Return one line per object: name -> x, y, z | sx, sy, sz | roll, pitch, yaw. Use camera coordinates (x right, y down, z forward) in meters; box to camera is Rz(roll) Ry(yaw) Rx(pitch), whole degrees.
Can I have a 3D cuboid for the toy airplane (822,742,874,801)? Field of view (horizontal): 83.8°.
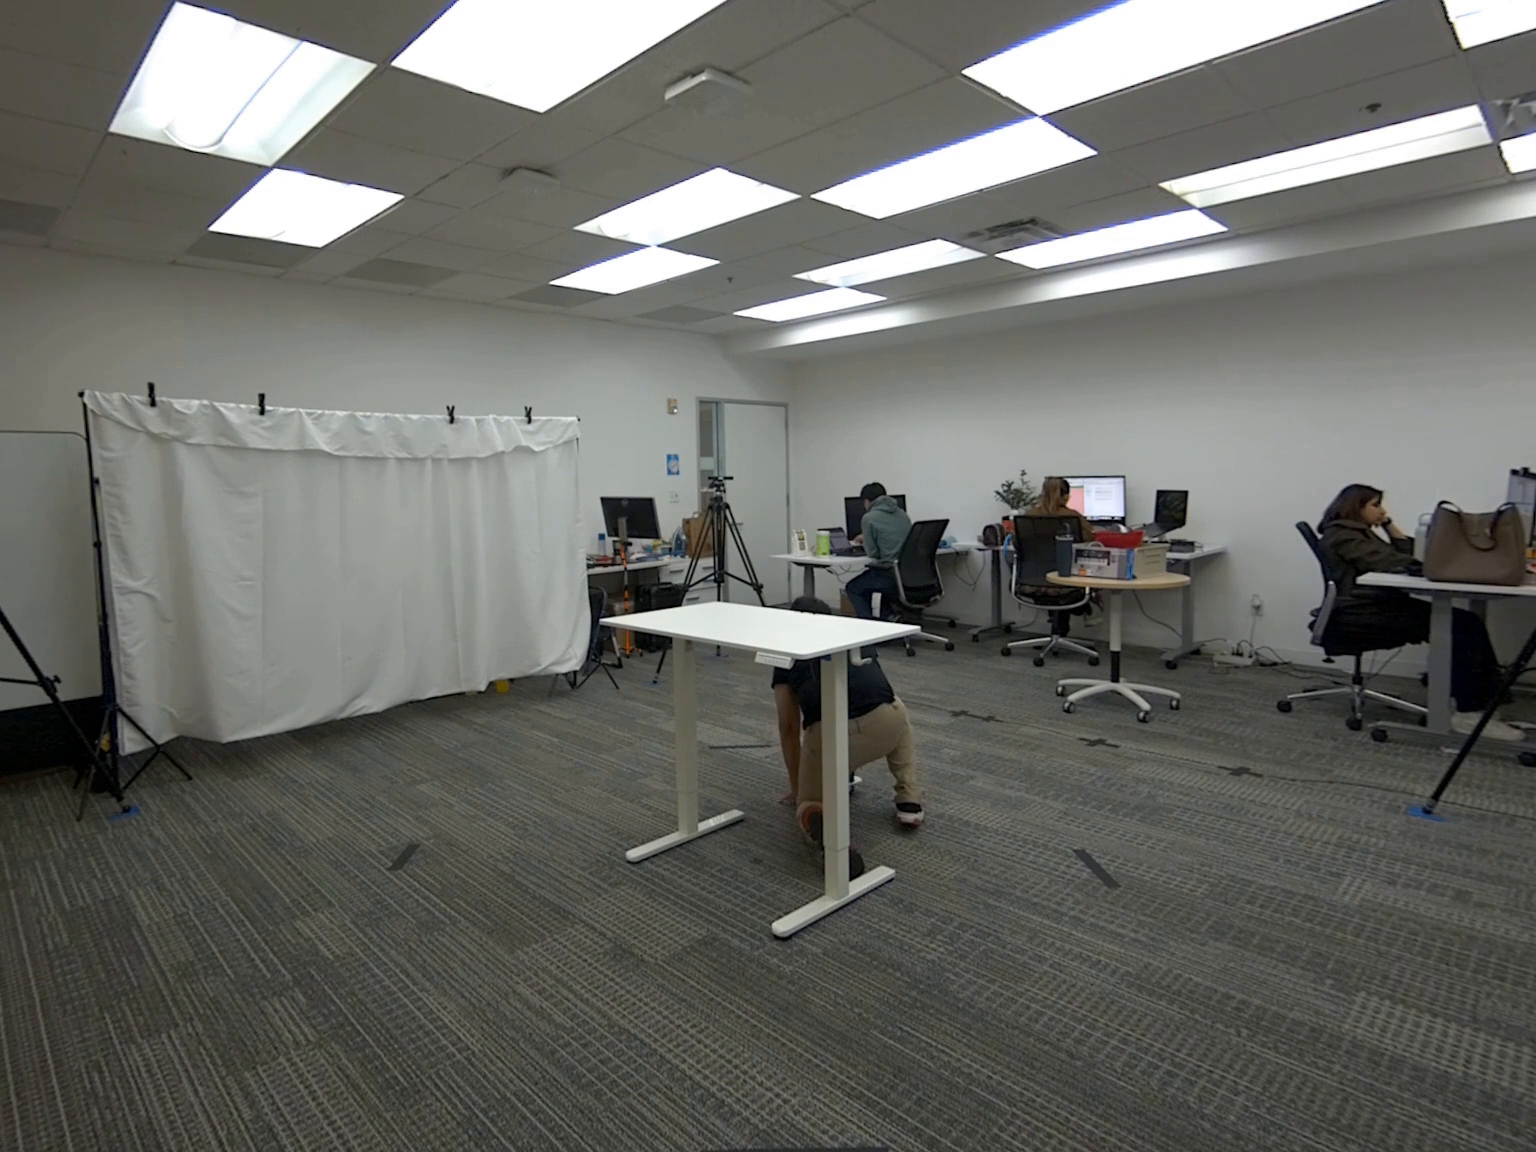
toy airplane -> 0.308, 0.870, 3.841 | 0.265, 0.156, 0.247 | 0, 6, 23
